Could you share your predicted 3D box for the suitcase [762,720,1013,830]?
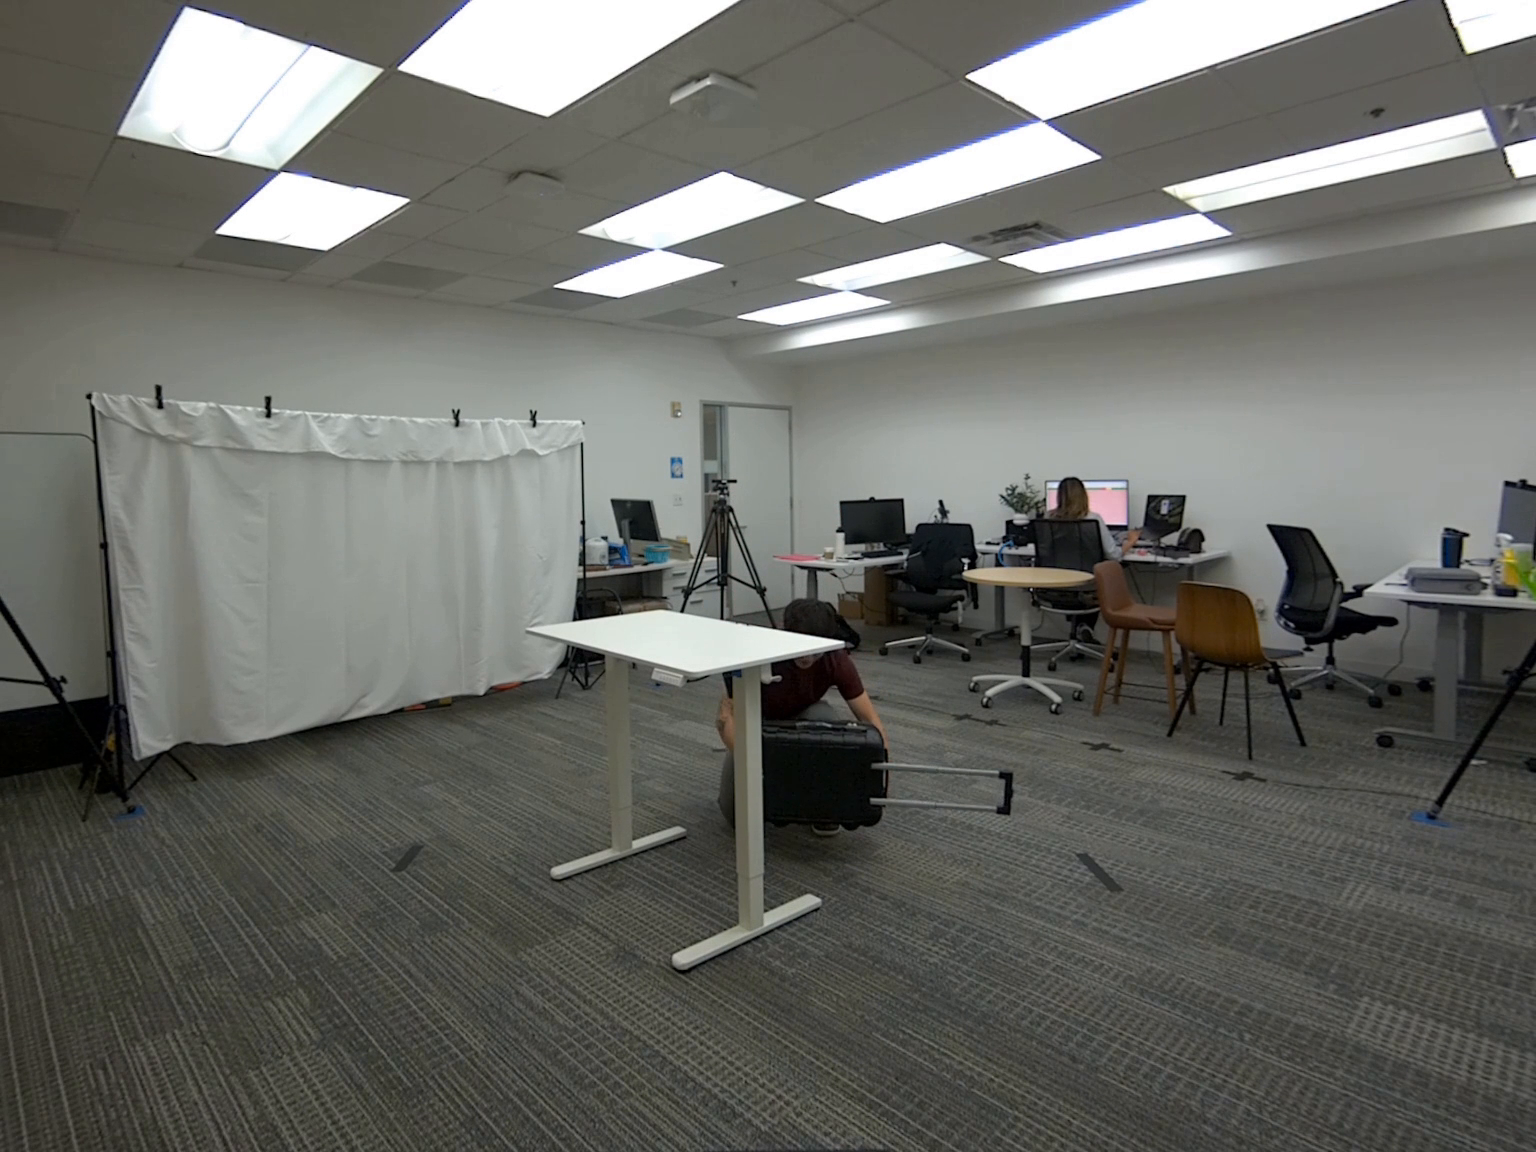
[{"bbox_3d":[0.373,0.728,3.182,0.983,0.383,0.256,-1,3,4],"label":"suitcase"}]
